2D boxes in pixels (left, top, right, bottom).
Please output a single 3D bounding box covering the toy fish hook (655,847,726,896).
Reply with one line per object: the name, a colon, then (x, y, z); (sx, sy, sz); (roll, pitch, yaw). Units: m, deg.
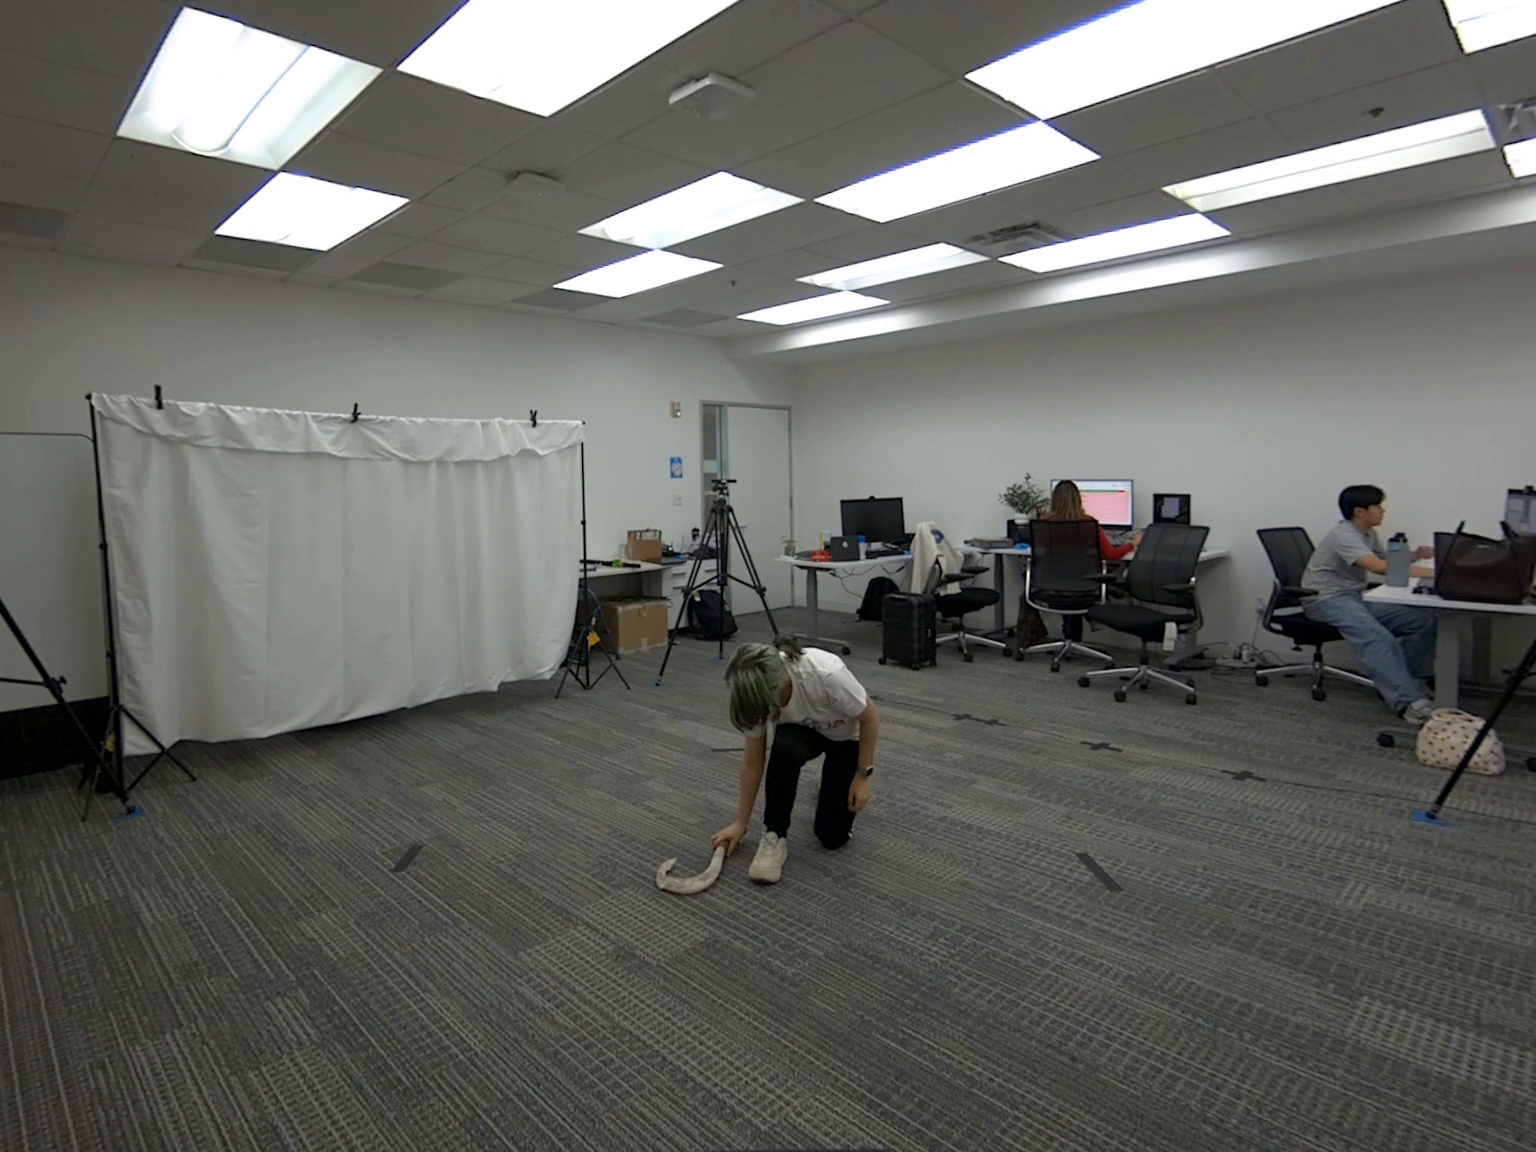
toy fish hook: (-0.236, 1.016, 3.115); (0.229, 0.048, 0.499); (4, 10, 22)
